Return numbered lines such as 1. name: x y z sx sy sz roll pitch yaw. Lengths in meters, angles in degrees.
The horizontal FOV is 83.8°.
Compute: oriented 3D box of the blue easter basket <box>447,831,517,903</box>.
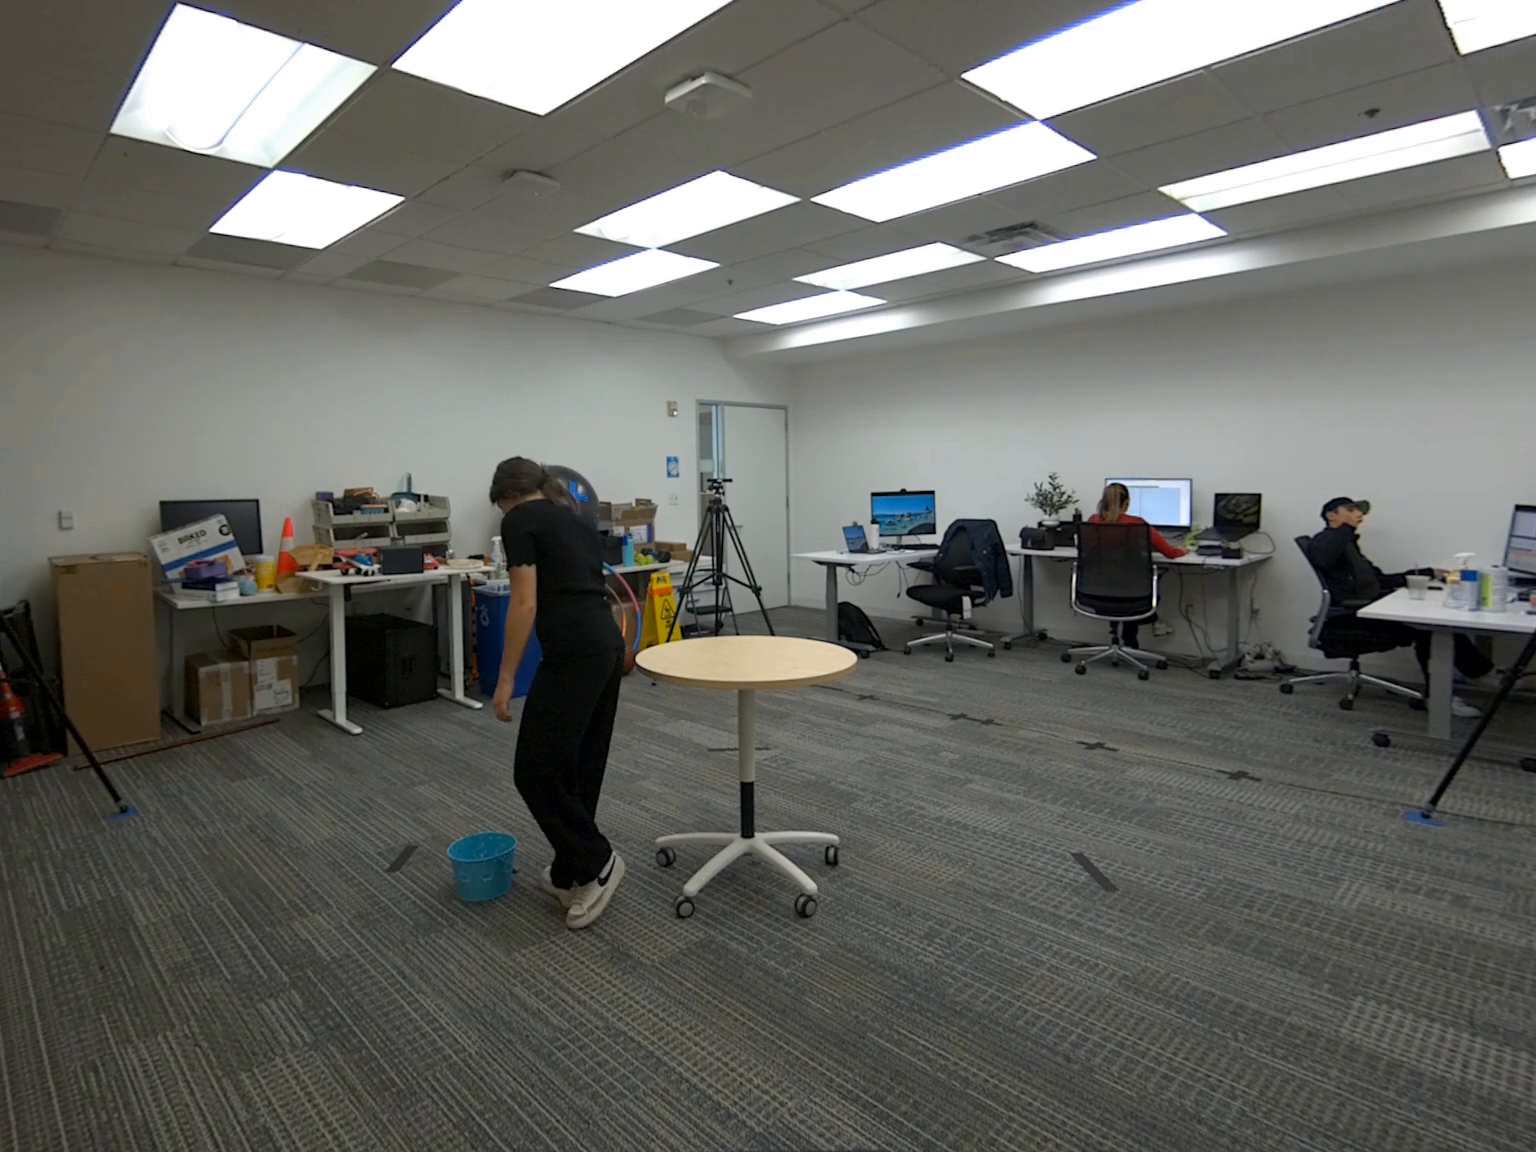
1. blue easter basket: -0.975 1.003 2.945 0.243 0.155 0.245 -1 6 -2
